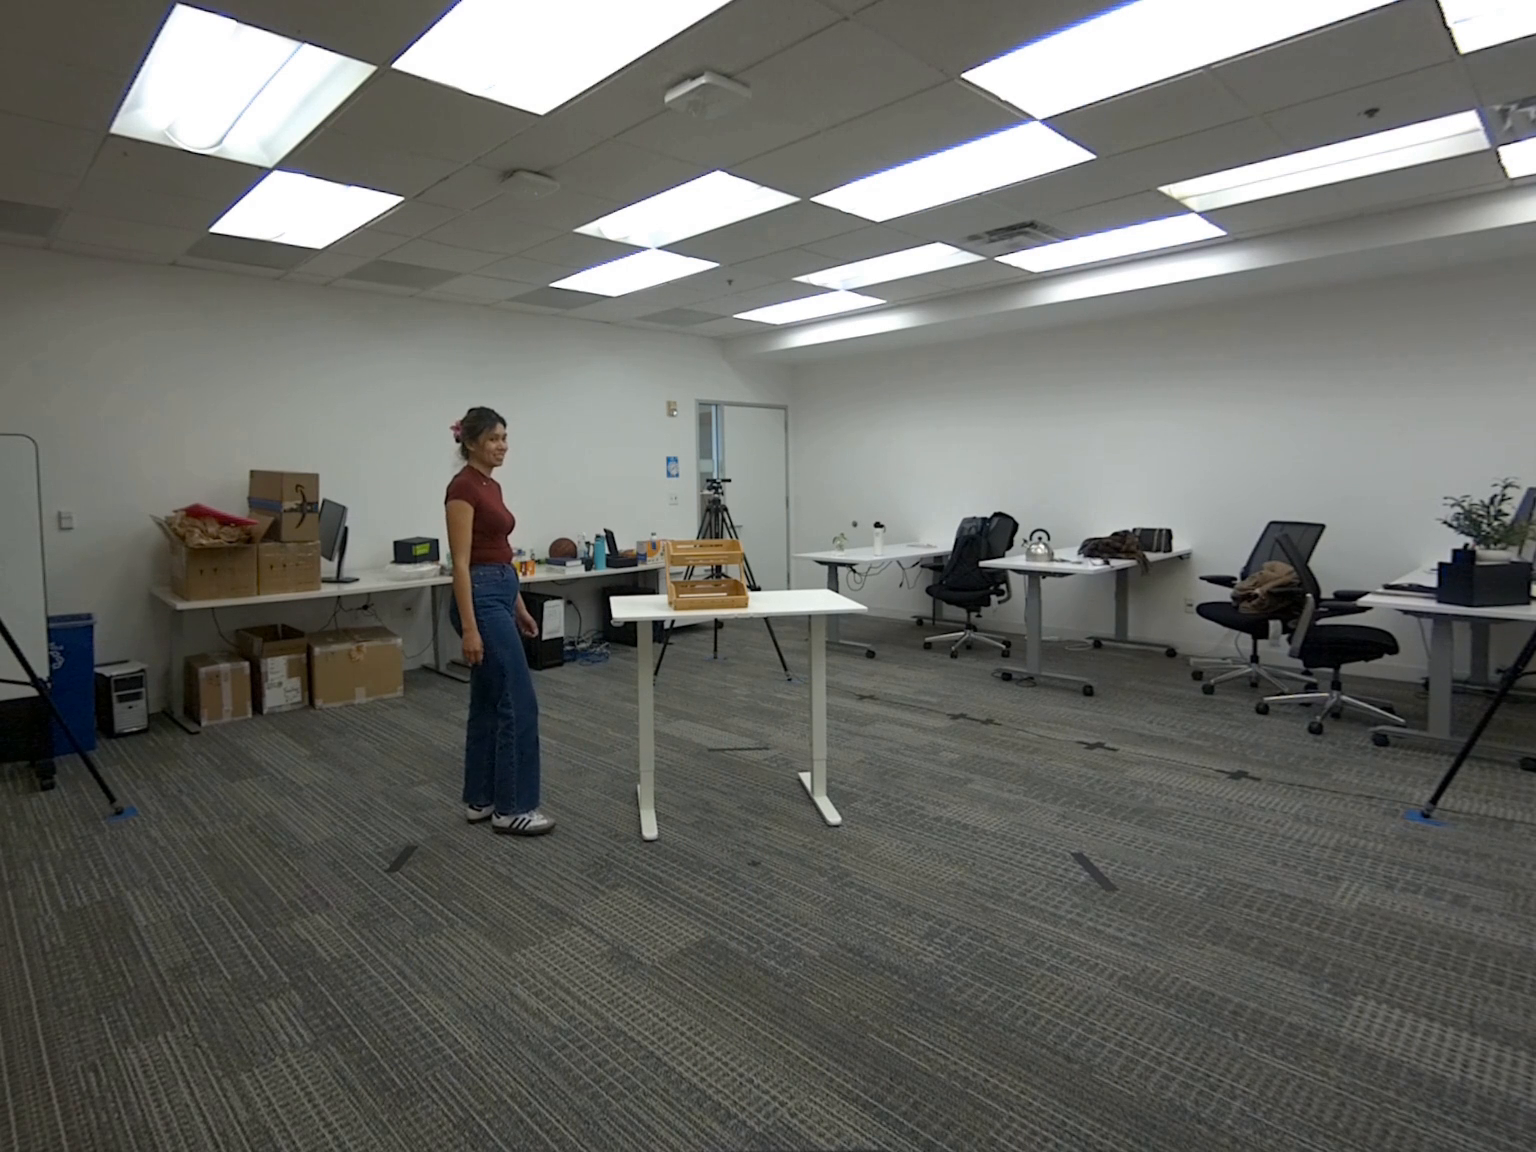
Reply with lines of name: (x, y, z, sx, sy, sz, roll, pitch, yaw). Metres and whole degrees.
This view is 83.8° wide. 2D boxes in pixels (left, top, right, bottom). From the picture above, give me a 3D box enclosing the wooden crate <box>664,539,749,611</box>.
wooden crate: (-0.262, -0.014, 3.524, 0.321, 0.272, 0.306, -1, 4, -12)
